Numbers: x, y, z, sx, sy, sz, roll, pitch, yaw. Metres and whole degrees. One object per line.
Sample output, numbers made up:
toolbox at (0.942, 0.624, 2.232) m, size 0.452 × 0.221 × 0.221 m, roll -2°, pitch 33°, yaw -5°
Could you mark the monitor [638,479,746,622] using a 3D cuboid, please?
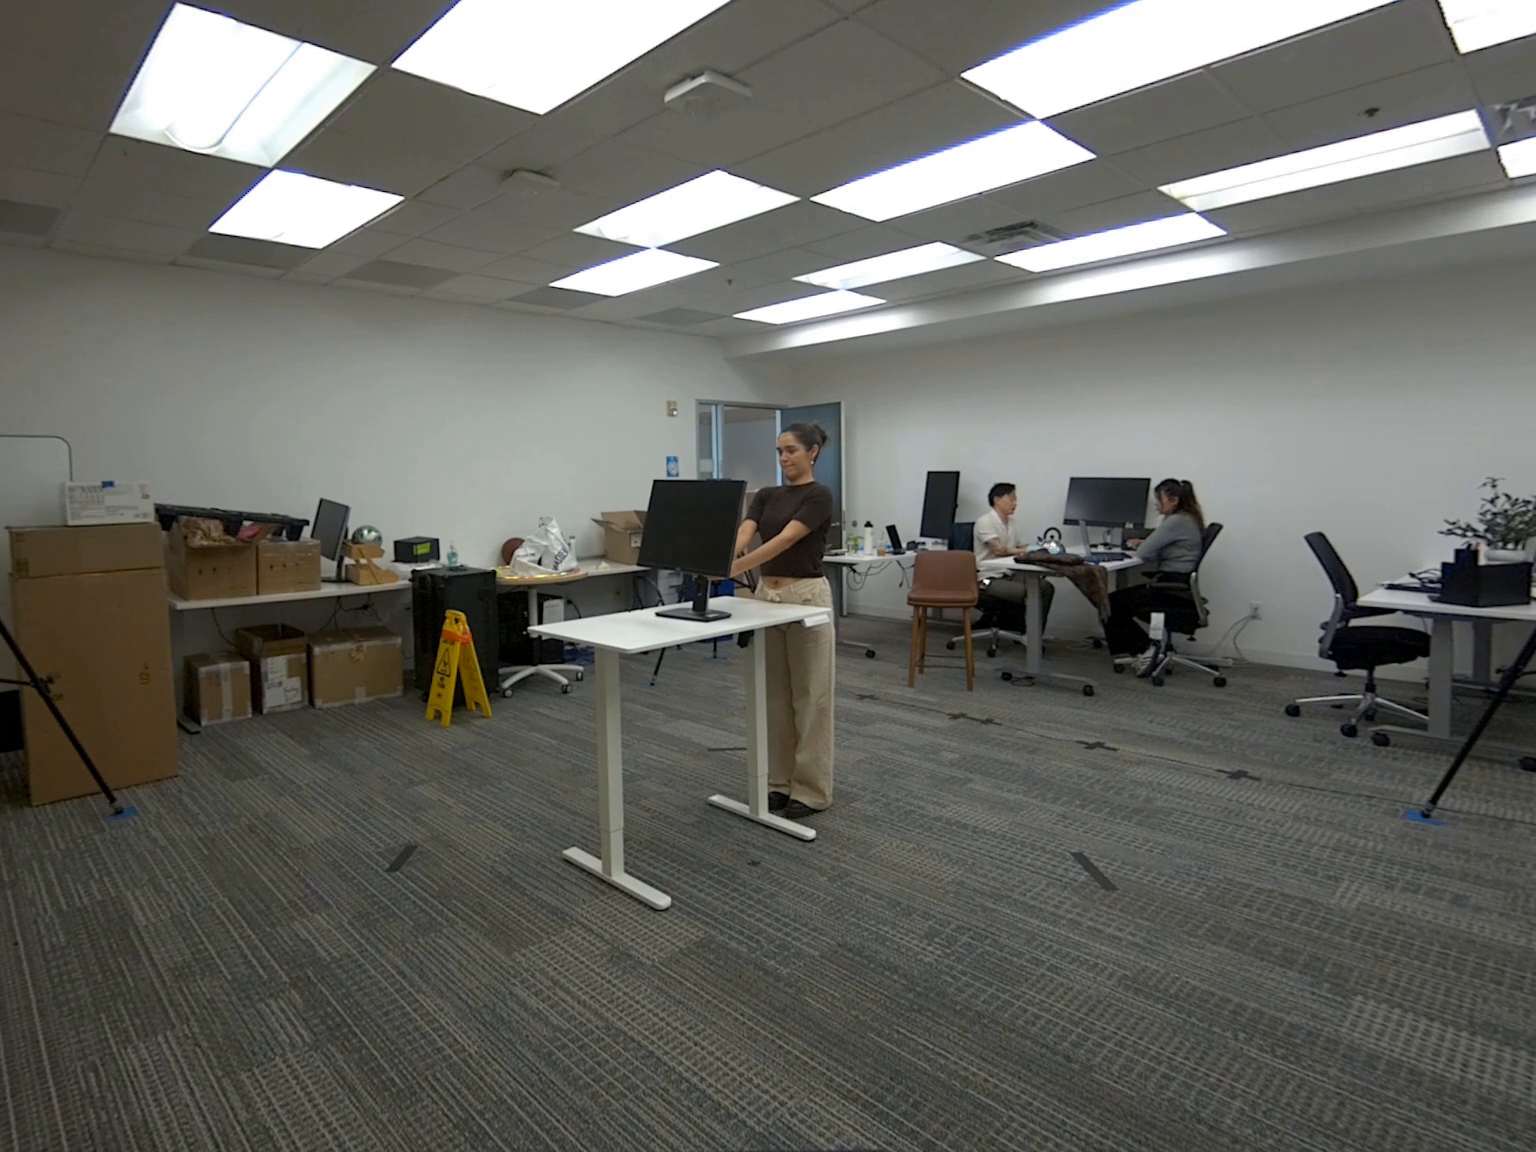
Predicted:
monitor at (-0.273, -0.100, 3.218) m, size 0.556 × 0.521 × 0.182 m, roll 5°, pitch 5°, yaw 44°
